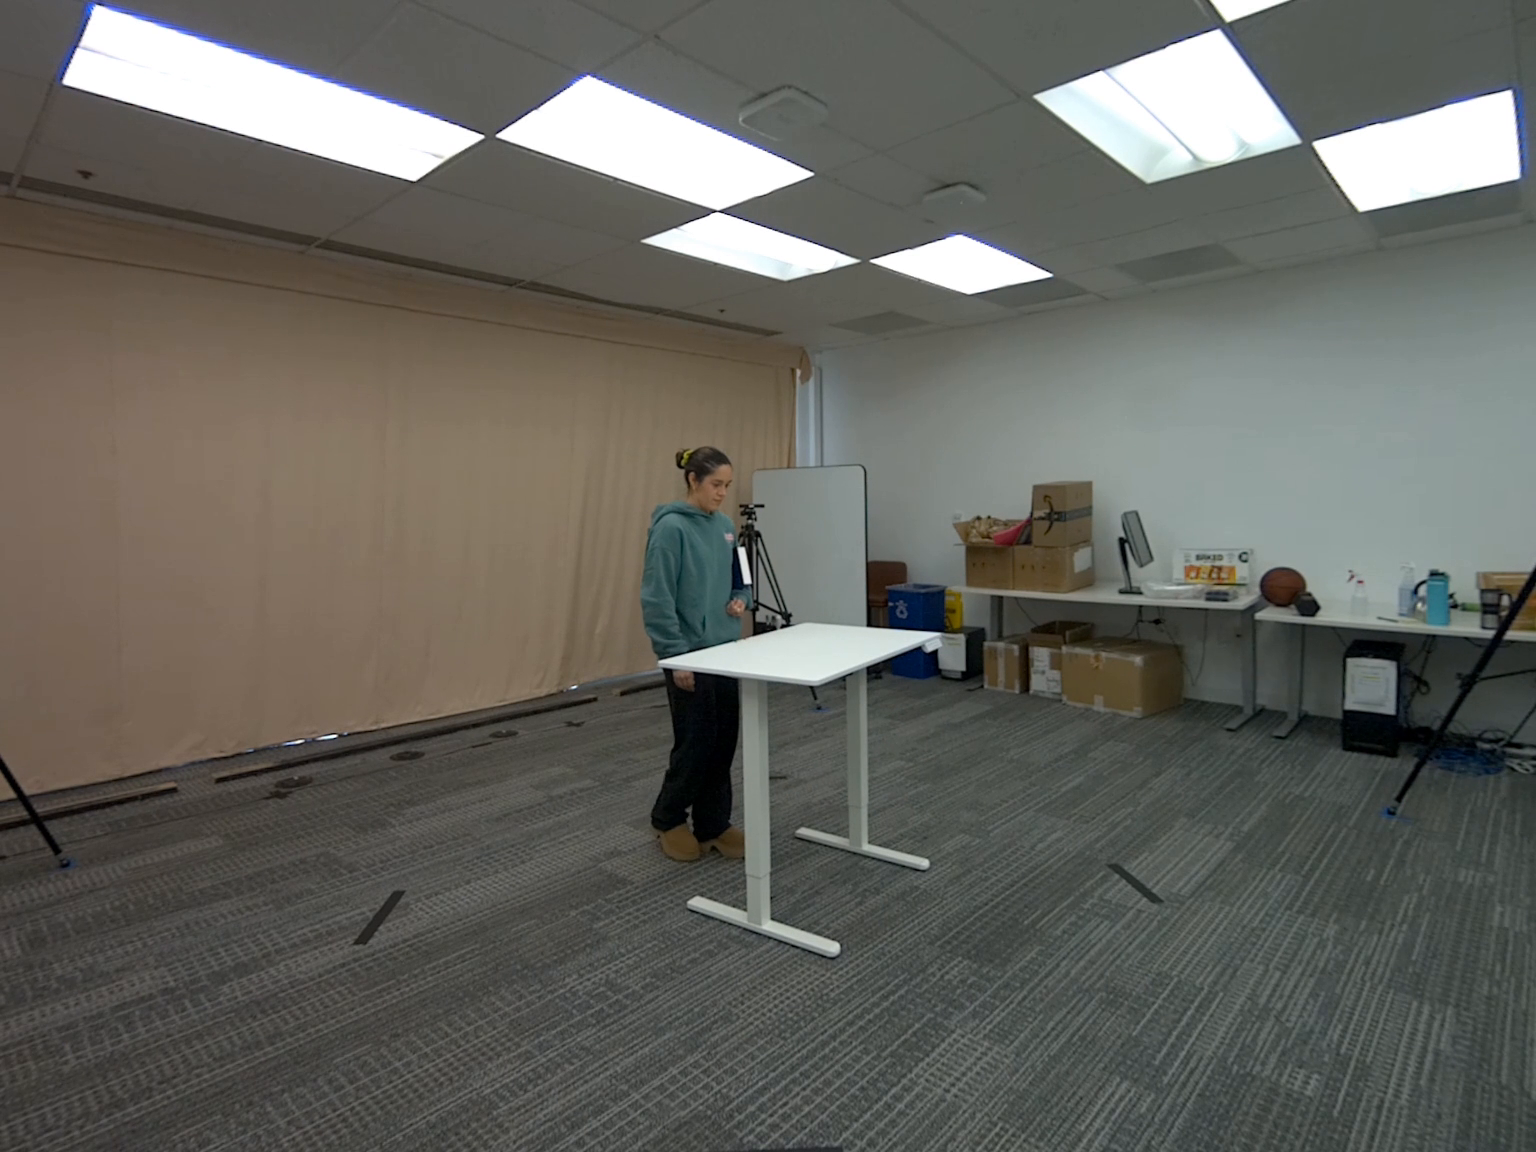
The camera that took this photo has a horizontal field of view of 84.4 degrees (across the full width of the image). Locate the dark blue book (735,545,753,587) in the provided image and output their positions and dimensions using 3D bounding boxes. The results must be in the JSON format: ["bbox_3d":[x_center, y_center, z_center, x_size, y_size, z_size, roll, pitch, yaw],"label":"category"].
[{"bbox_3d":[-0.147,-0.014,3.433,0.044,0.165,0.249,1,-18,-33],"label":"dark blue book"}]
